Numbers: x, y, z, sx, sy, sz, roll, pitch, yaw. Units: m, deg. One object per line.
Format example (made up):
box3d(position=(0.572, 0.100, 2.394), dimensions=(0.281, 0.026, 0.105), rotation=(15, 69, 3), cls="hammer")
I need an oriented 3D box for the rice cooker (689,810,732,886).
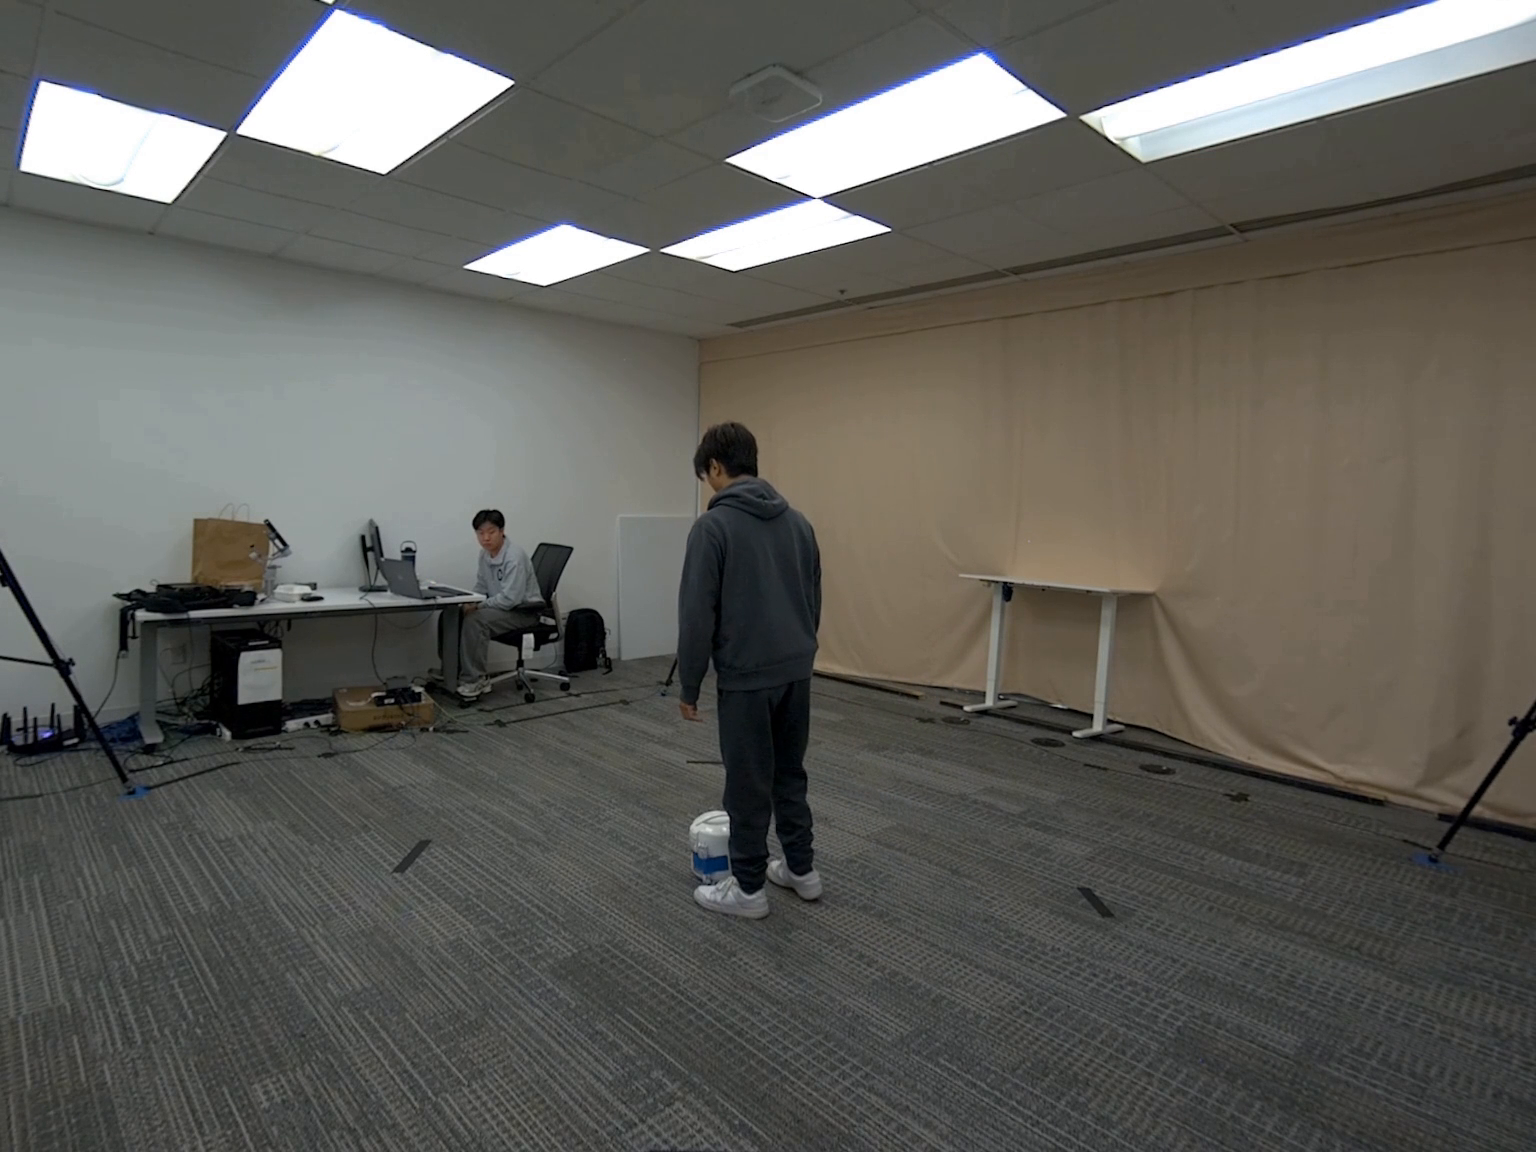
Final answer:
box3d(position=(-0.189, 0.985, 3.108), dimensions=(0.217, 0.232, 0.222), rotation=(0, 5, -22), cls="rice cooker")
